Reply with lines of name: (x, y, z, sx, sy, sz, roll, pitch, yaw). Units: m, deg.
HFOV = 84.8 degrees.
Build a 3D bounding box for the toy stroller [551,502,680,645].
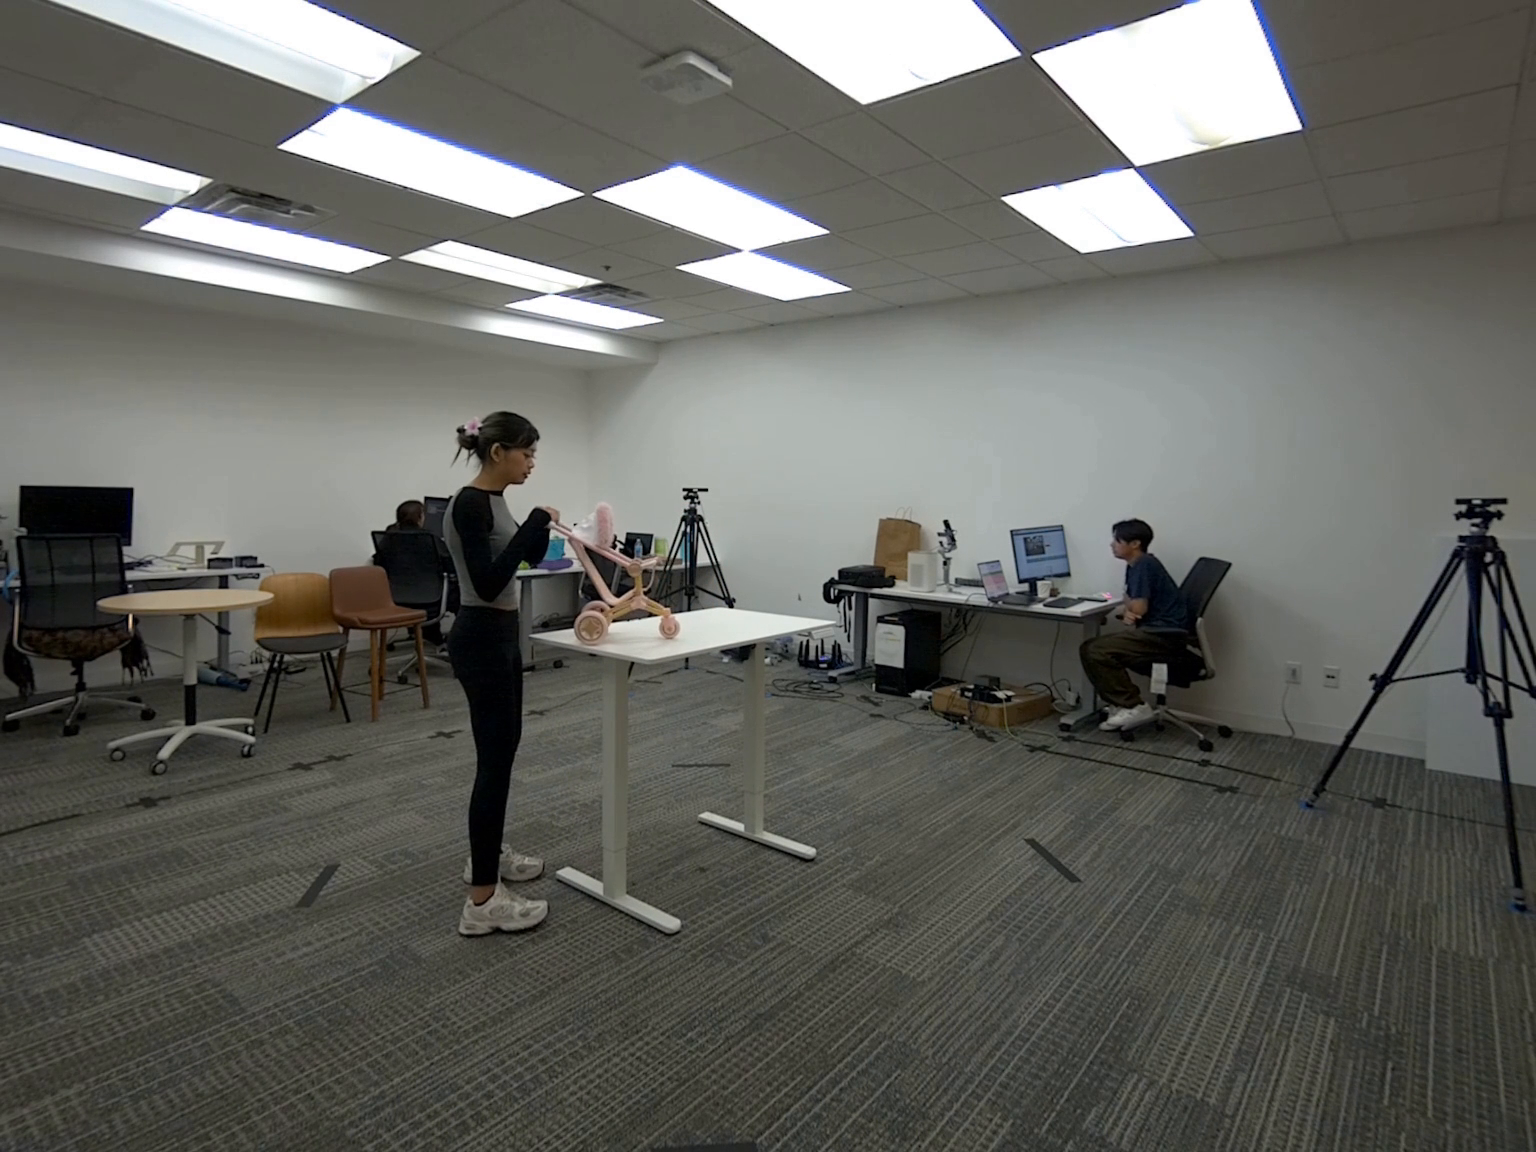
toy stroller: (-0.531, -0.009, 2.841, 0.341, 0.533, 0.282, -16, 3, 0)
